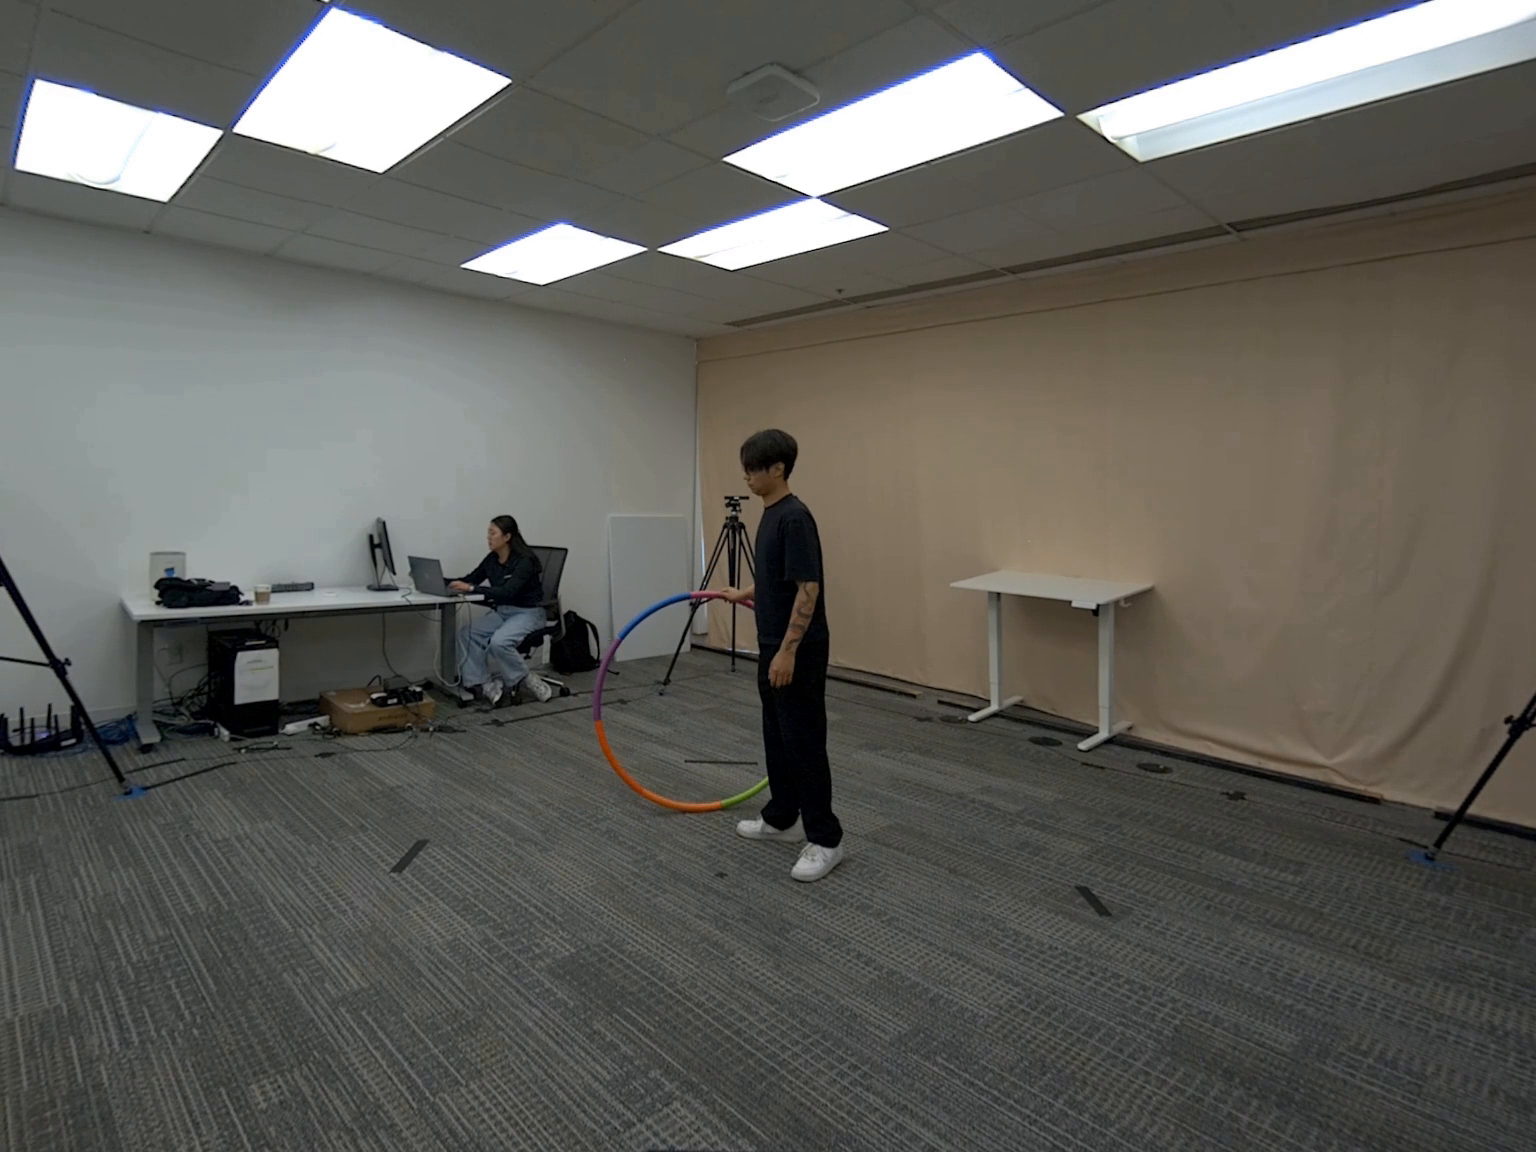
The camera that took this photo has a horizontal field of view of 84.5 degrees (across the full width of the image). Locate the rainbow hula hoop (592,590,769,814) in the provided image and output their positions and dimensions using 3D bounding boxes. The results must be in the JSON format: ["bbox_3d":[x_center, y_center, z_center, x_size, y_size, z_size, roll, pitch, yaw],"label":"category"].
[{"bbox_3d":[-0.291,0.555,3.761,0.969,0.980,0.036,0,-2,-12],"label":"rainbow hula hoop"}]
